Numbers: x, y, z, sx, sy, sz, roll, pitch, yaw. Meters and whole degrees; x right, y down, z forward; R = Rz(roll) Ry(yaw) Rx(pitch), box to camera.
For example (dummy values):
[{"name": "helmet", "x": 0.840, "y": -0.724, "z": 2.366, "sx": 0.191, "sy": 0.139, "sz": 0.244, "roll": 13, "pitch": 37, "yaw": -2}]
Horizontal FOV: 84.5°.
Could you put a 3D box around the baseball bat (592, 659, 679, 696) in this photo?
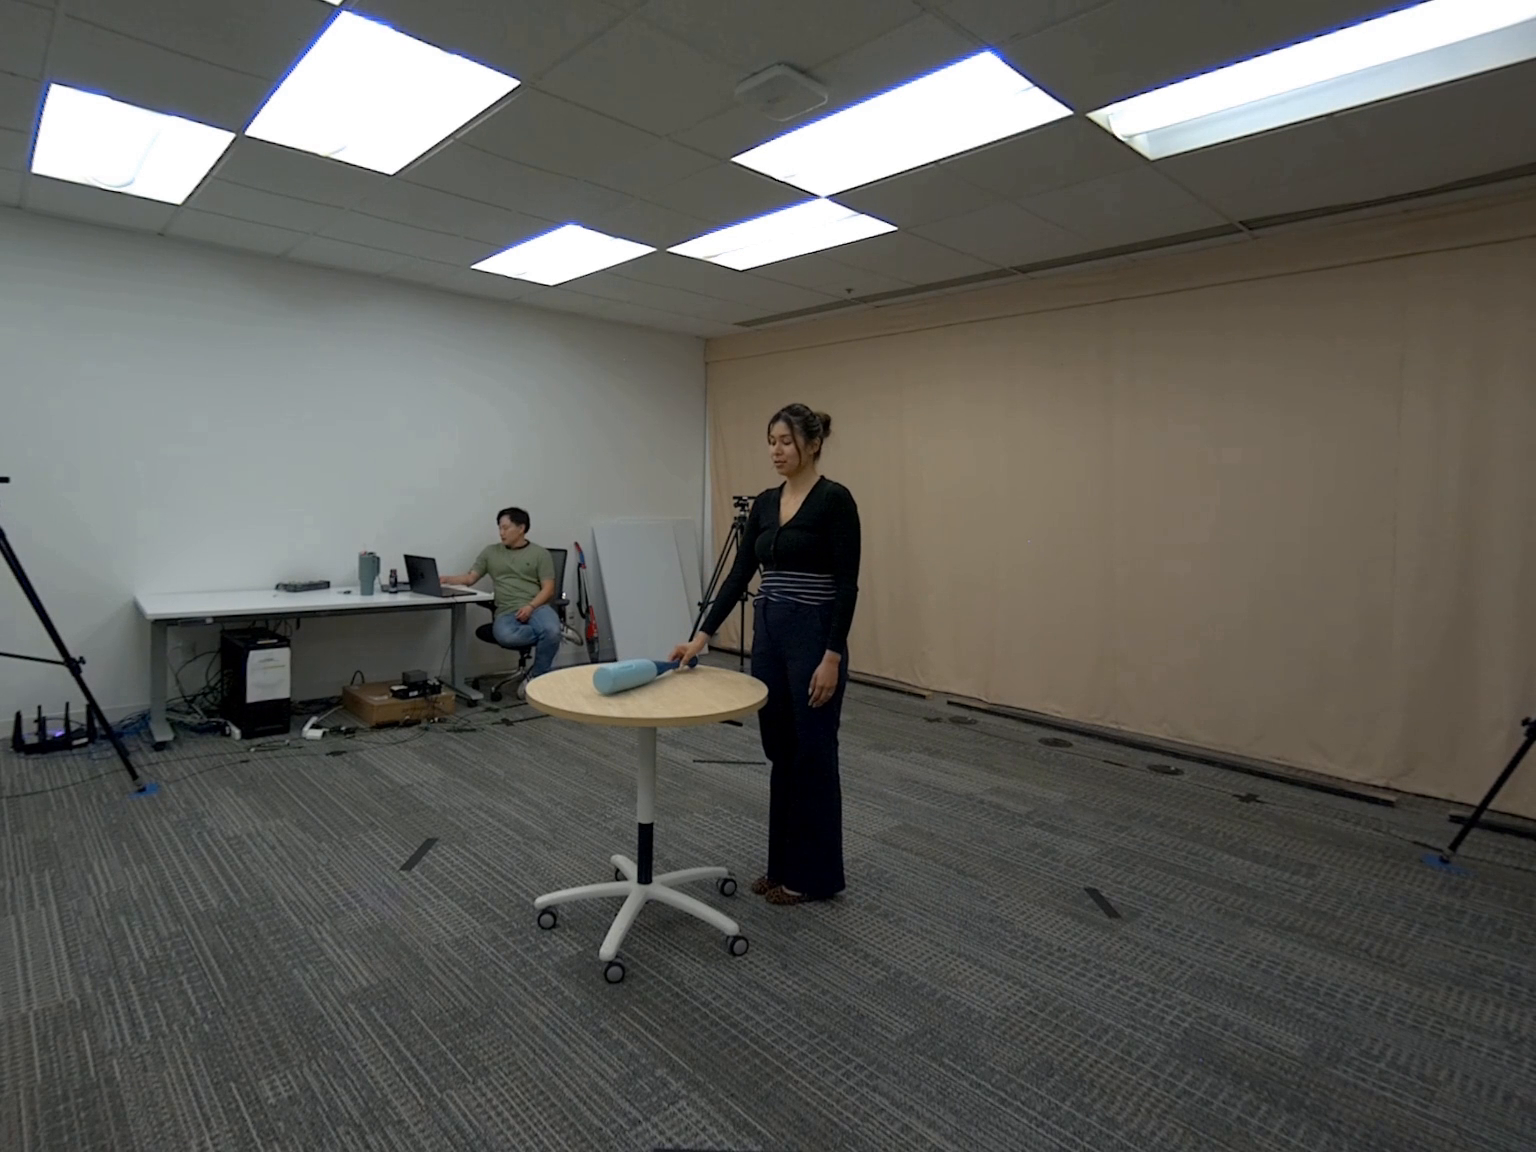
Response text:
[{"name": "baseball bat", "x": -0.382, "y": 0.308, "z": 2.761, "sx": 0.091, "sy": 0.089, "sz": 0.533, "roll": 4, "pitch": 3, "yaw": 26}]
